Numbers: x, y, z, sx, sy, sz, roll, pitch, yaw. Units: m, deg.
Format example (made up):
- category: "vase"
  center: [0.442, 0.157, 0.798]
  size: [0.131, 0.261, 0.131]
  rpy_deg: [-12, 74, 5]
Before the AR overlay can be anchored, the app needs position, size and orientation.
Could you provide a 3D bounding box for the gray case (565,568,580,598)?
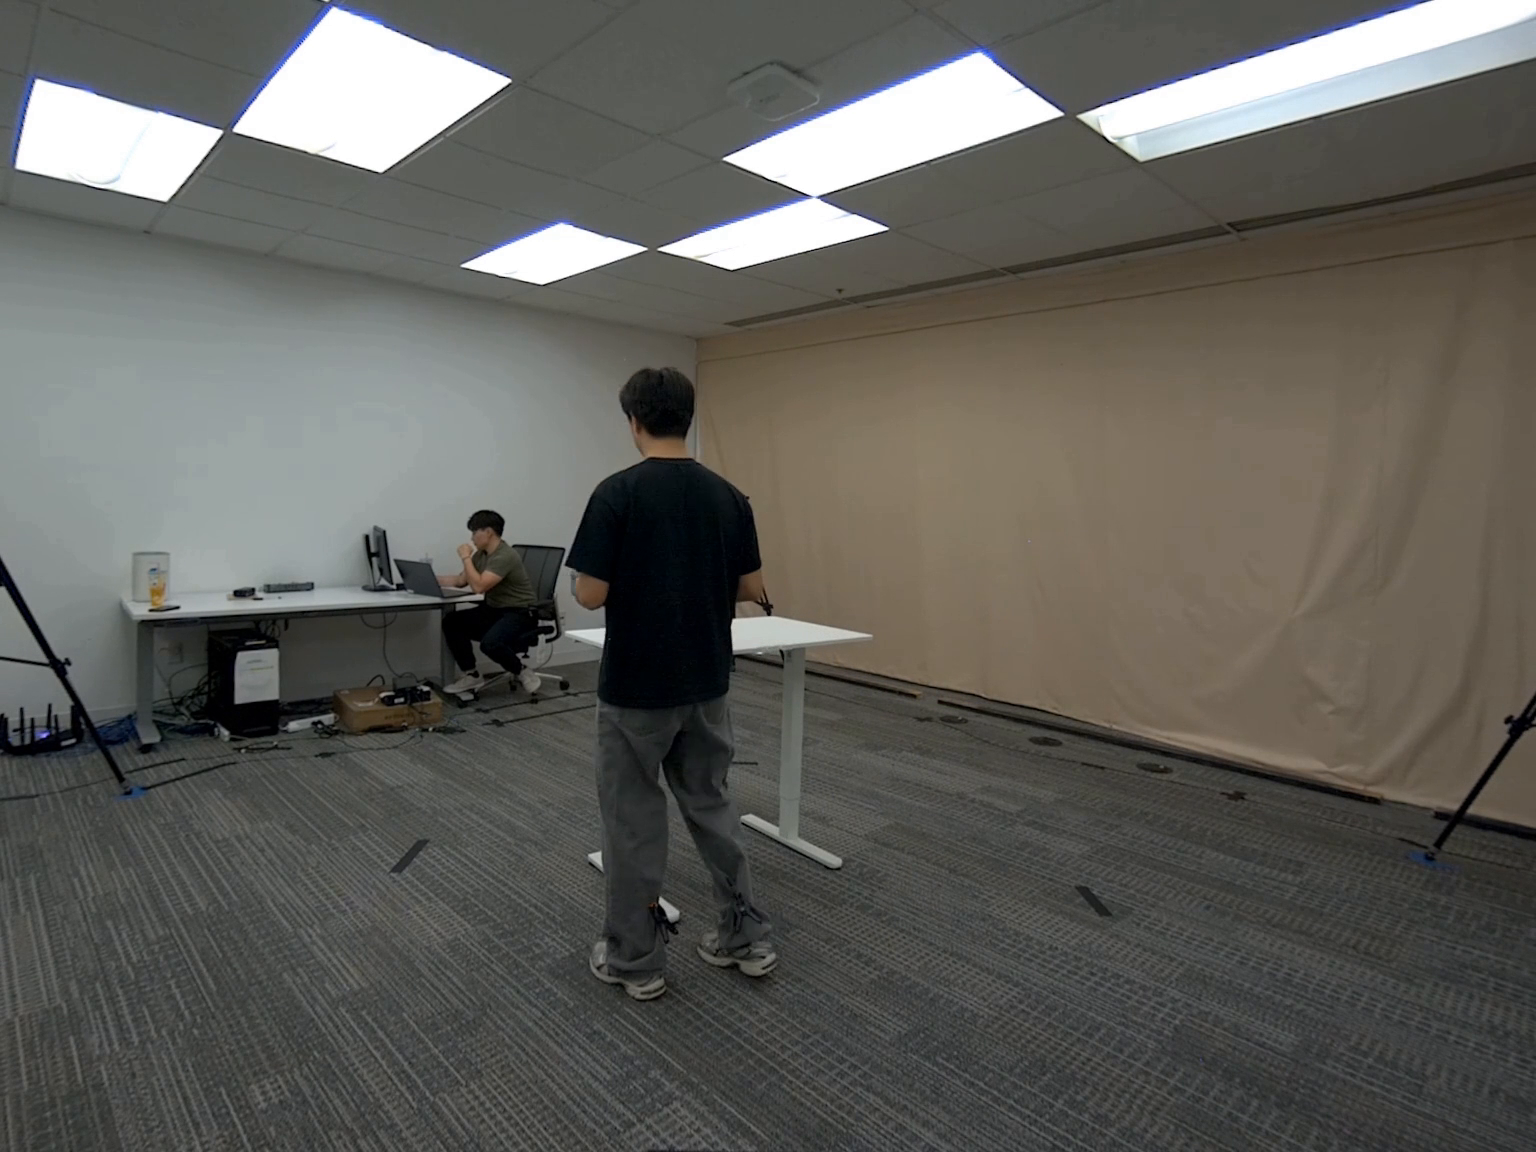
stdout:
- category: "gray case"
  center: [-0.468, 0.037, 2.658]
  size: [0.269, 0.102, 0.282]
  rpy_deg: [8, 9, 29]
